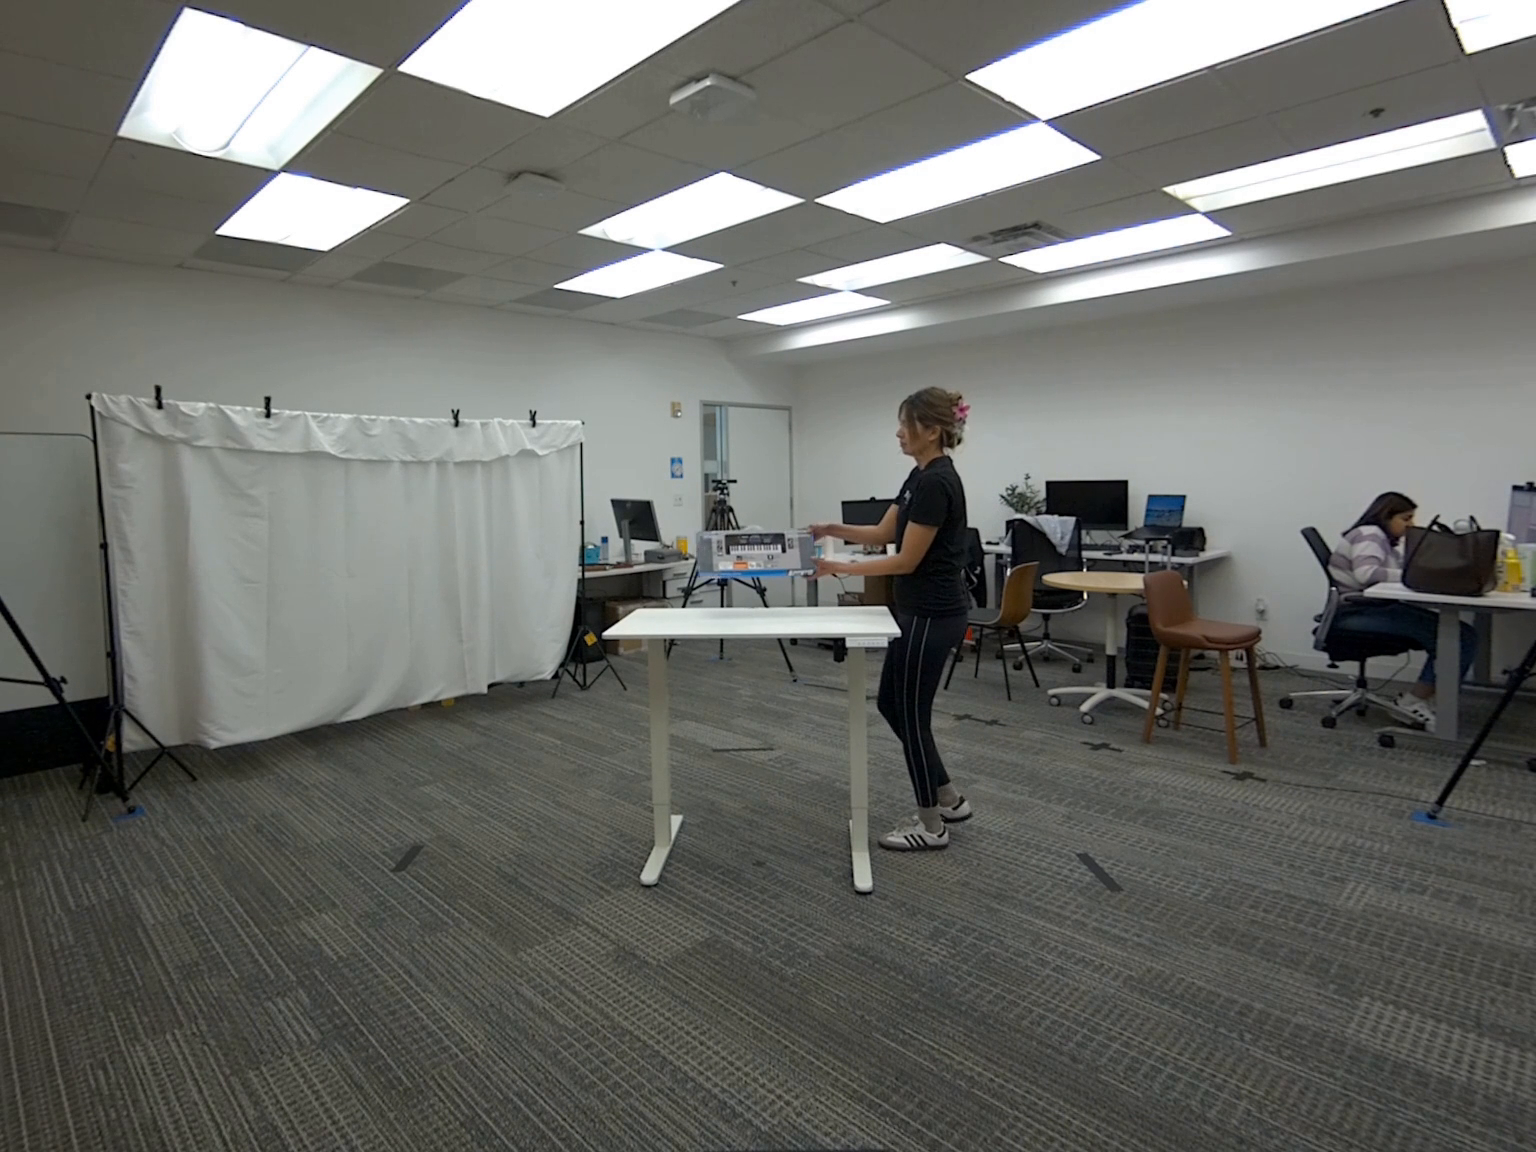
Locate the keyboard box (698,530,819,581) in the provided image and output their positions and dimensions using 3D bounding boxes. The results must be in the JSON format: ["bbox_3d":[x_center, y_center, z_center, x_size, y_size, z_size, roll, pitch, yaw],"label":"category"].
[{"bbox_3d":[-0.039,-0.078,3.189,0.435,0.180,0.058,-1,-27,-3],"label":"keyboard box"}]
